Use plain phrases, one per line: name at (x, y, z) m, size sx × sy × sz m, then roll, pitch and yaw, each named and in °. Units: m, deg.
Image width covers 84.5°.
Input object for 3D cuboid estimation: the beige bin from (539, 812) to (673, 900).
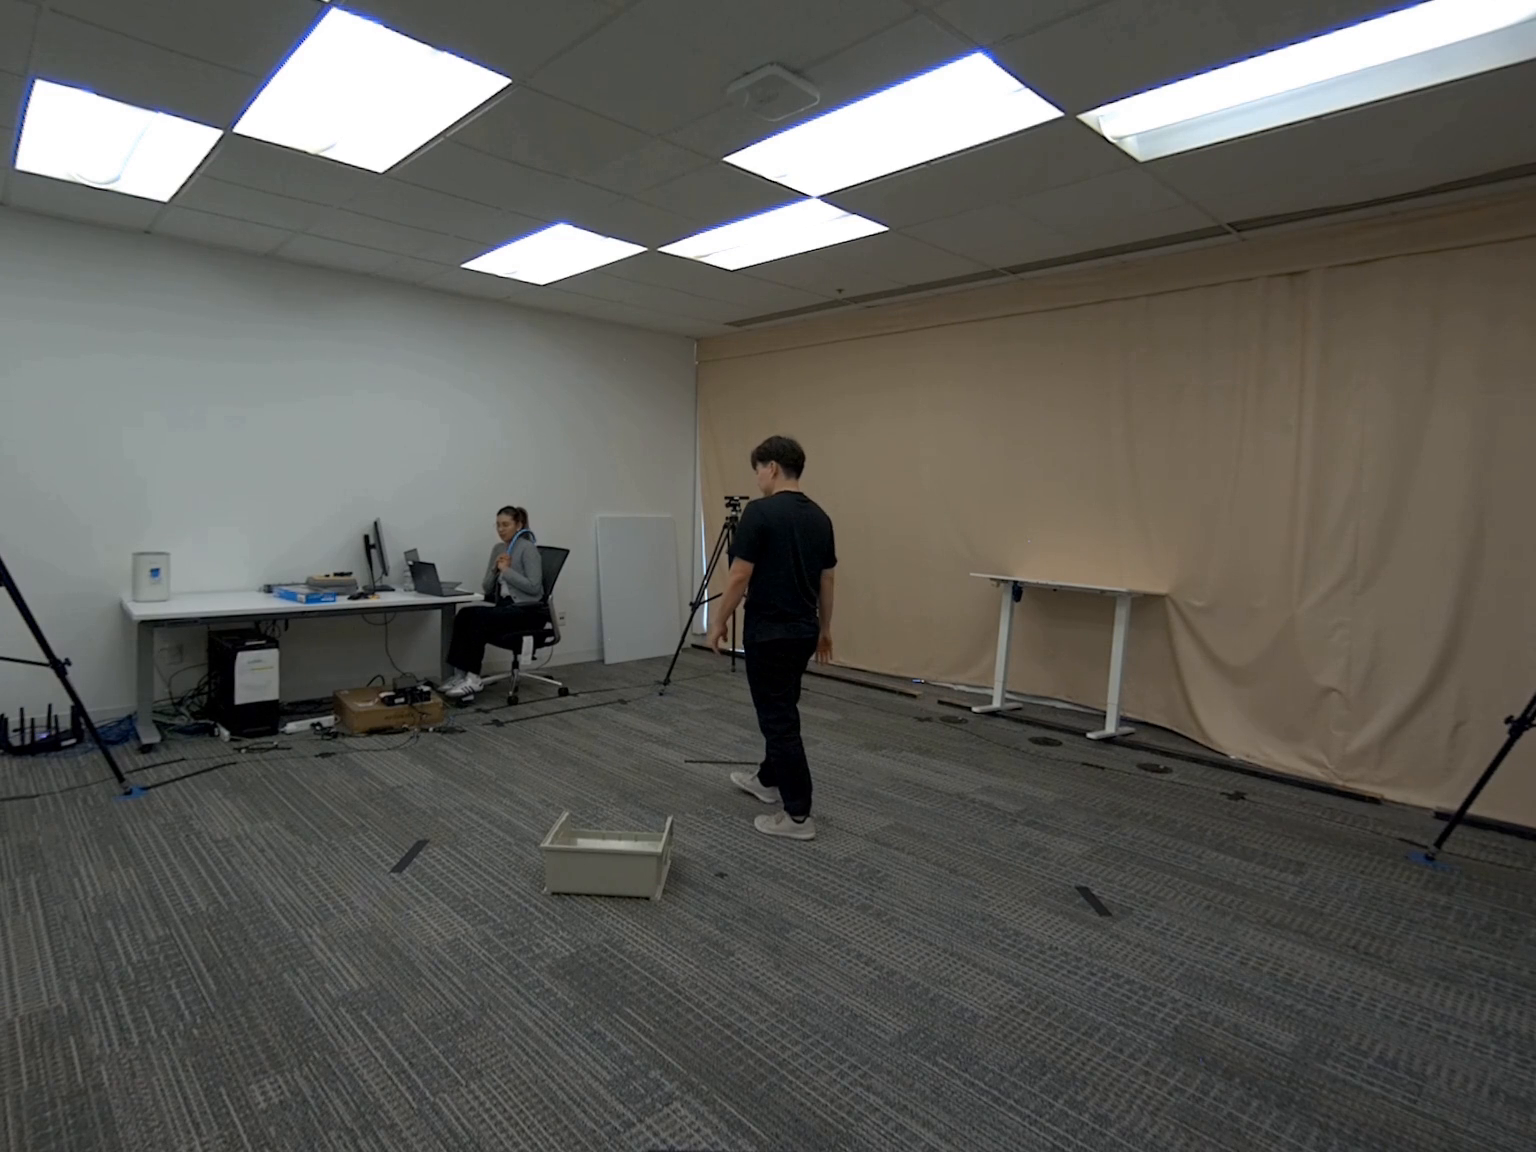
beige bin at (-0.582, 1.008, 3.073) m, size 0.423 × 0.188 × 0.378 m, roll 3°, pitch 6°, yaw 2°
